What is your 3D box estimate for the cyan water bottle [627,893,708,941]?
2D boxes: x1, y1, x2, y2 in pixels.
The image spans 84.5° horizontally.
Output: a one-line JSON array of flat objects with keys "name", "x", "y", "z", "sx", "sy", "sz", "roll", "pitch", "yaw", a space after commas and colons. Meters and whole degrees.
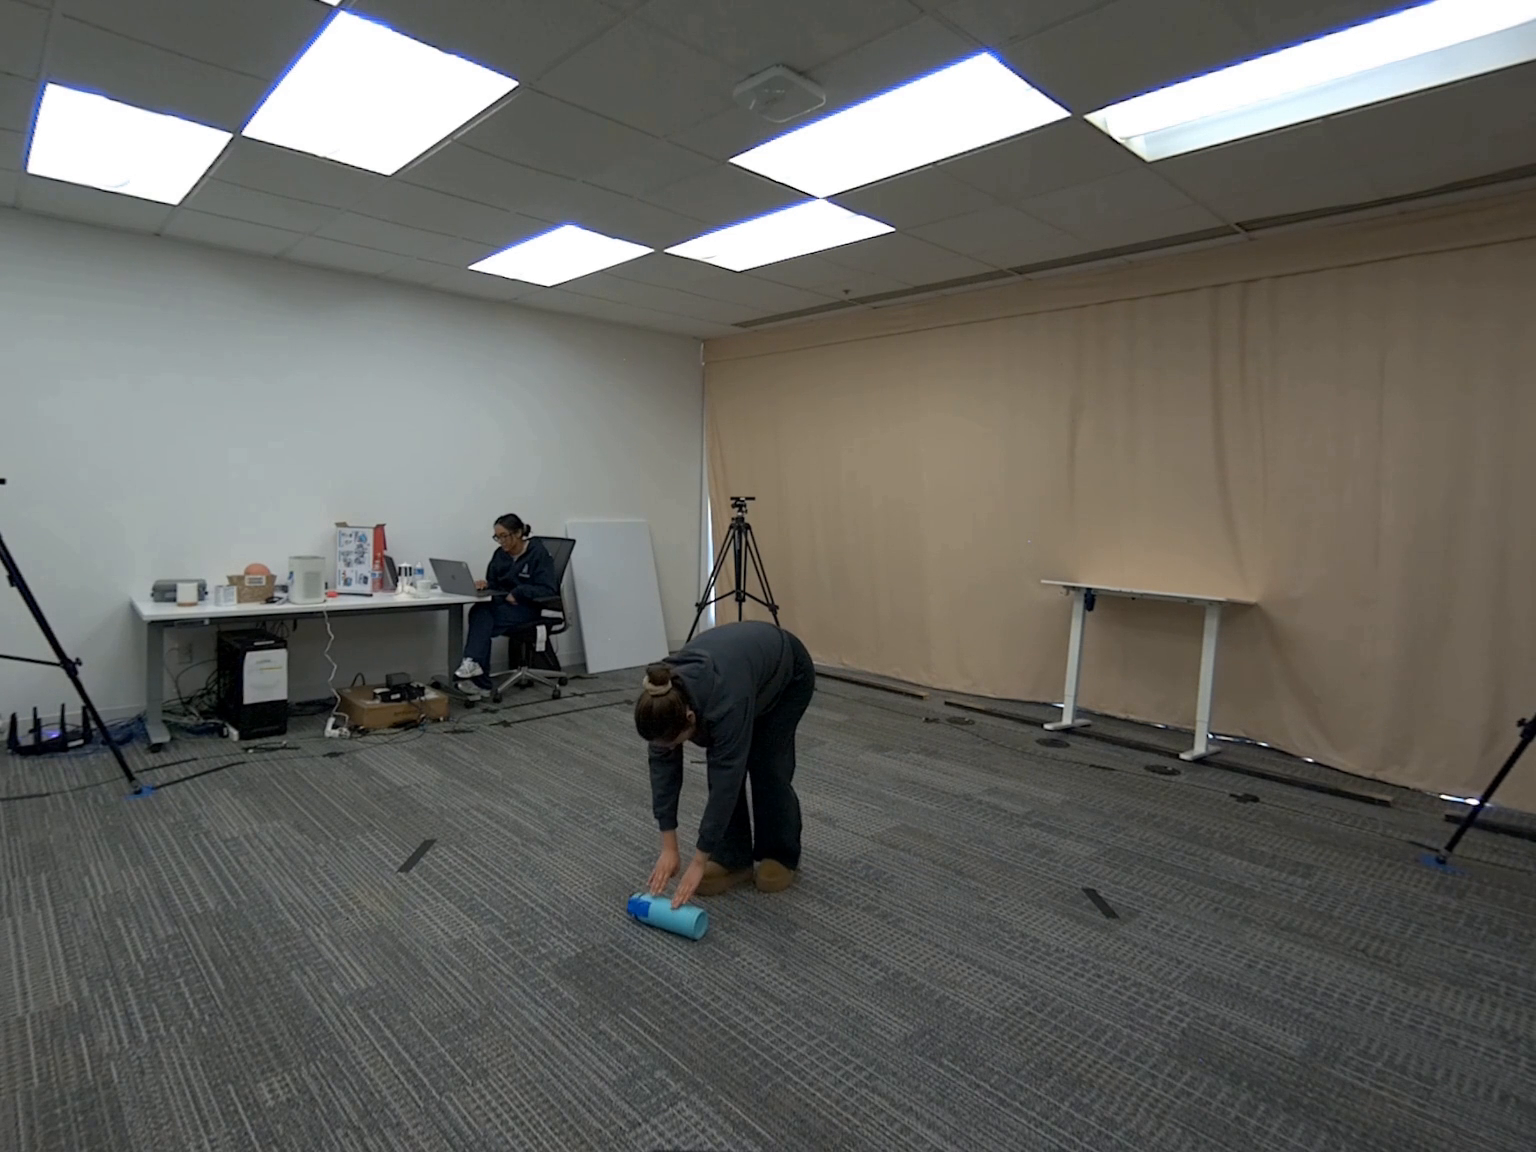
[{"name": "cyan water bottle", "x": -0.336, "y": 1.091, "z": 2.734, "sx": 0.289, "sy": 0.092, "sz": 0.090, "roll": 5, "pitch": 6, "yaw": 29}]
